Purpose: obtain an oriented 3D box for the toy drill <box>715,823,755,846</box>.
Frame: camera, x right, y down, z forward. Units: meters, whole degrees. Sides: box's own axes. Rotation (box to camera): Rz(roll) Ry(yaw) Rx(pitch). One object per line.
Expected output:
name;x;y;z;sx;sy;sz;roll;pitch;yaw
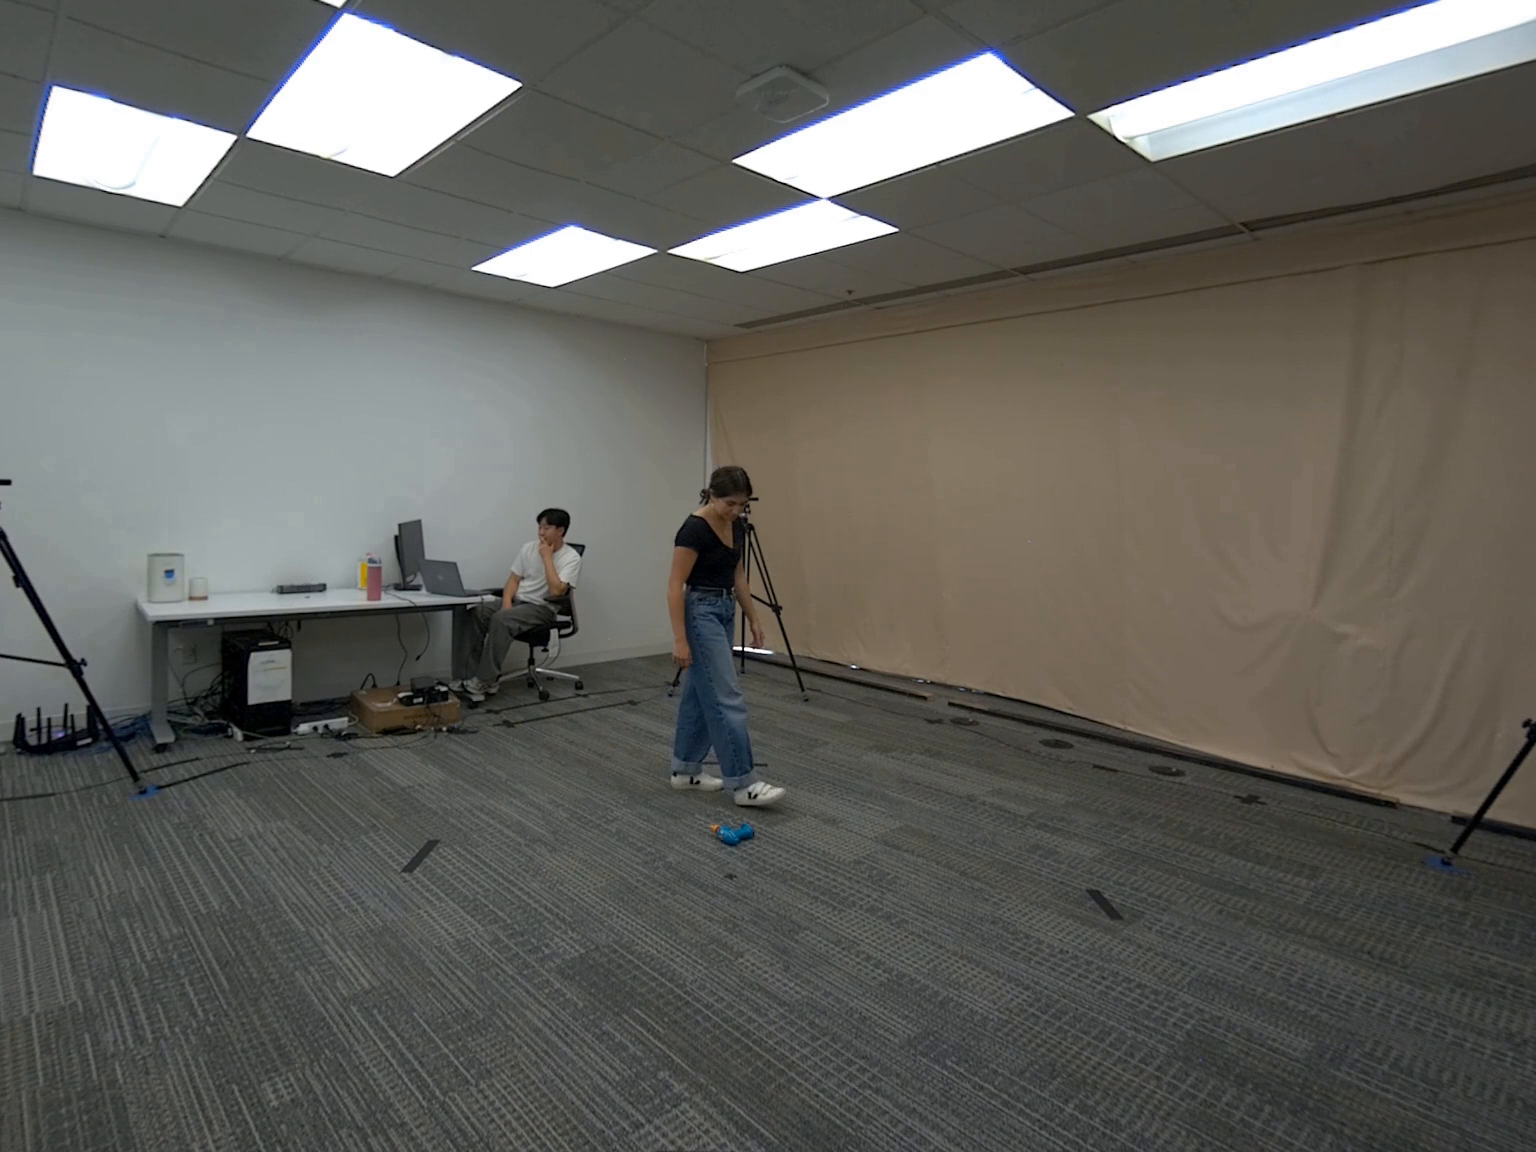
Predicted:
toy drill;-0.170;1.050;3.452;0.175;0.061;0.142;15;10;43
